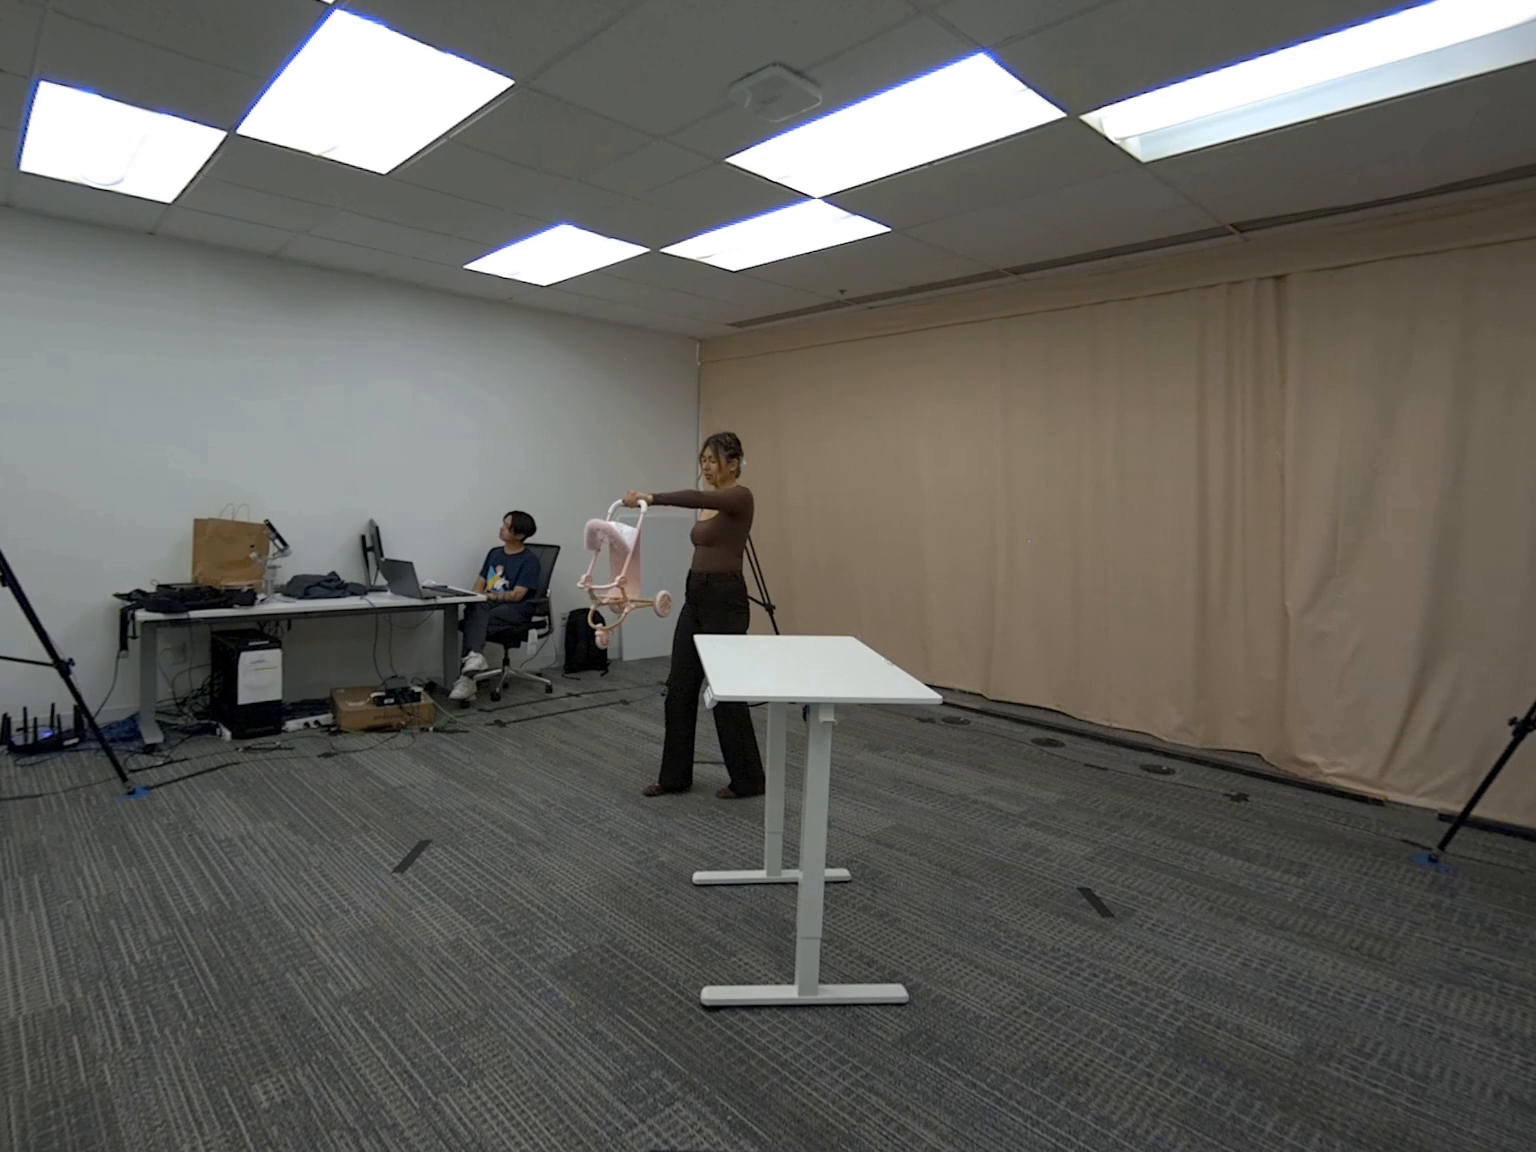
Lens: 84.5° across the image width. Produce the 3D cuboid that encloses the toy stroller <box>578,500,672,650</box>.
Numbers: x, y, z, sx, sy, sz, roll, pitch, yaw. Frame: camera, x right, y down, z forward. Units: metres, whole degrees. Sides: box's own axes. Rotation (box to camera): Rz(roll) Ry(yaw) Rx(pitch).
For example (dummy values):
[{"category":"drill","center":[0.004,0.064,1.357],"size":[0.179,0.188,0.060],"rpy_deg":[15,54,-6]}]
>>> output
[{"category":"toy stroller","center":[-0.624,-0.008,3.381],"size":[0.288,0.529,0.337],"rpy_deg":[5,18,39]}]
